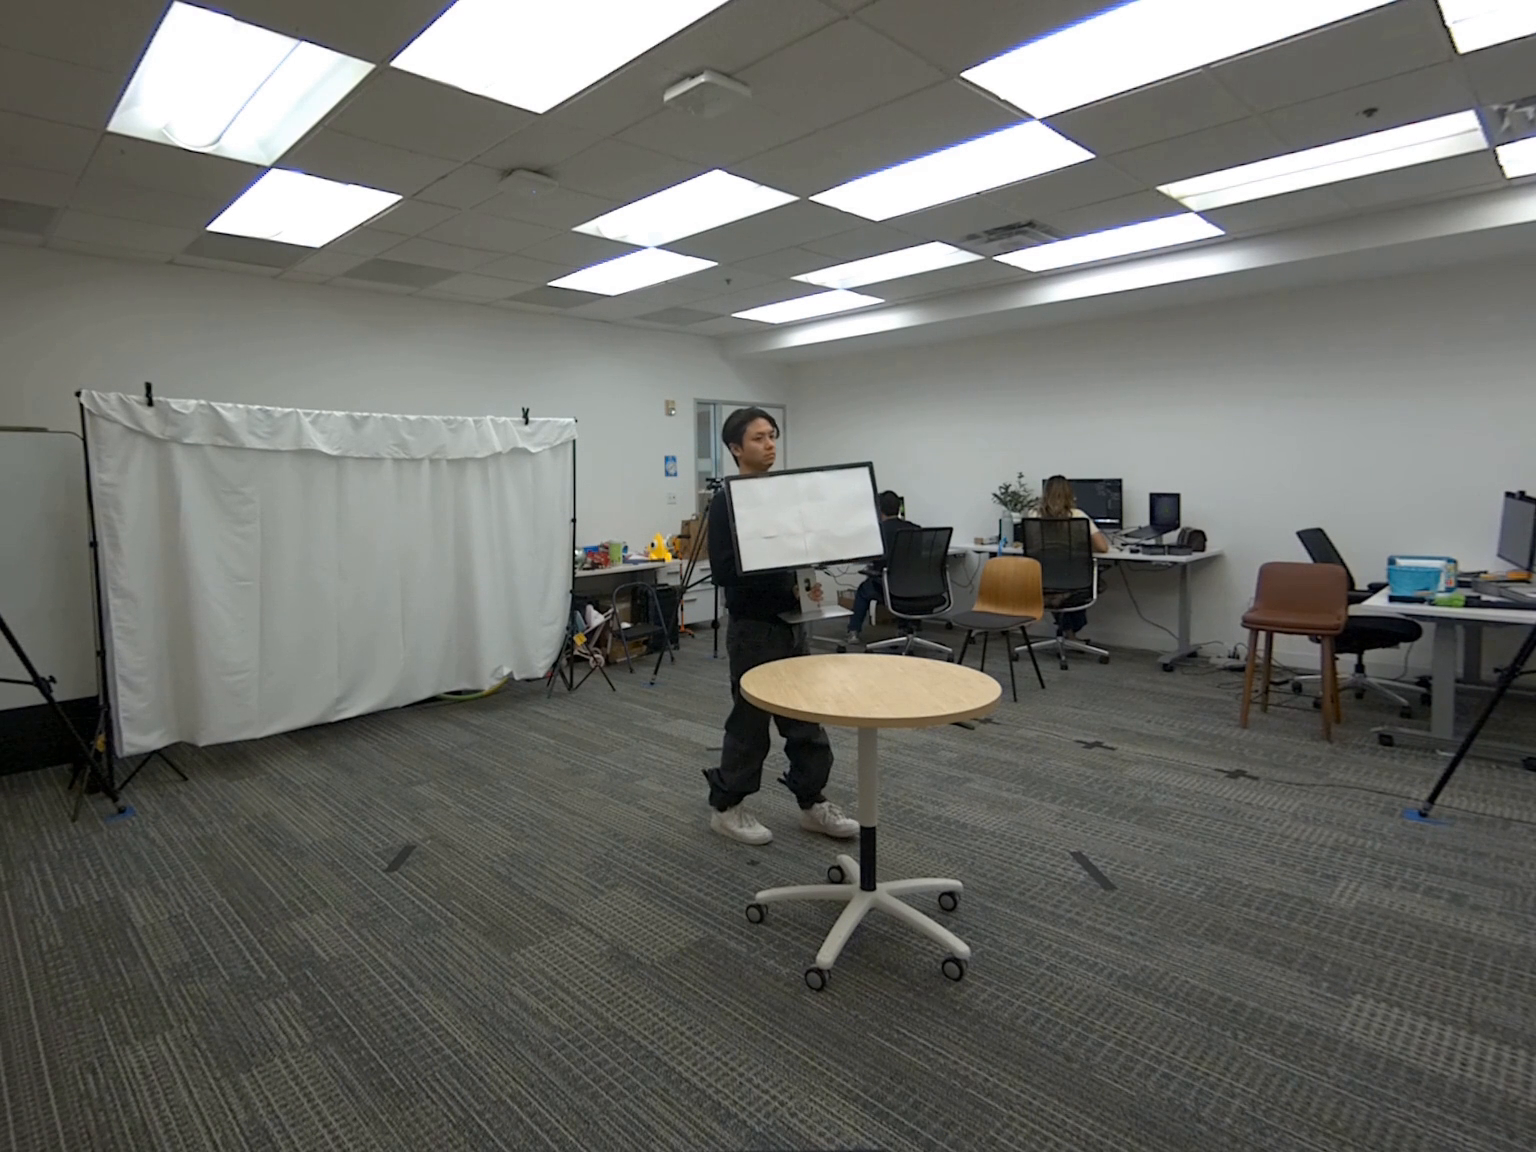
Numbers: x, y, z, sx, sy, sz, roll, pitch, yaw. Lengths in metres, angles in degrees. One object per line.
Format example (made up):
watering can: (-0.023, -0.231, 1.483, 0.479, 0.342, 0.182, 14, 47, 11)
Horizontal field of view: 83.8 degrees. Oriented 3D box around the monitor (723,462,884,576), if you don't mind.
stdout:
monitor: (0.148, -0.125, 3.107, 0.524, 0.512, 0.178, -6, 8, -13)
